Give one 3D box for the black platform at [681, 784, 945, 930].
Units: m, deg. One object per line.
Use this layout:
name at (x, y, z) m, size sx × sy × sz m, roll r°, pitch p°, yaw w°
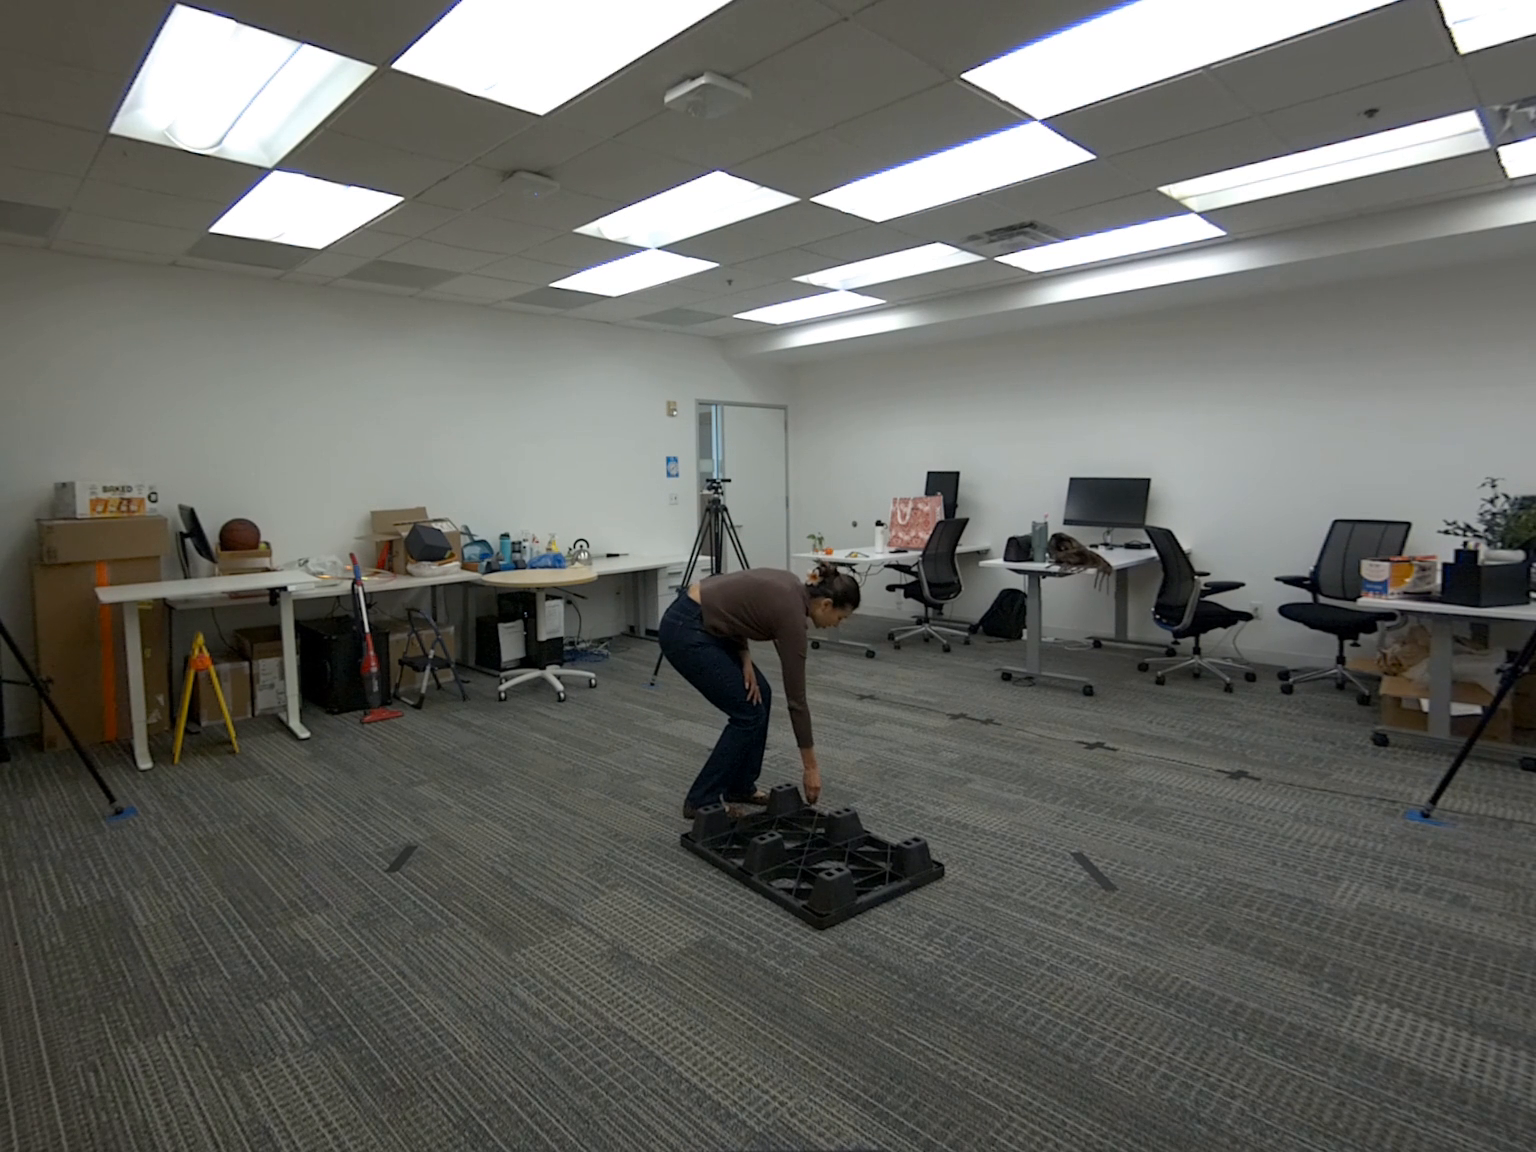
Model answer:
black platform at (0.136, 0.970, 3.120) m, size 0.589 × 0.143 × 0.830 m, roll -5°, pitch 7°, yaw -38°
